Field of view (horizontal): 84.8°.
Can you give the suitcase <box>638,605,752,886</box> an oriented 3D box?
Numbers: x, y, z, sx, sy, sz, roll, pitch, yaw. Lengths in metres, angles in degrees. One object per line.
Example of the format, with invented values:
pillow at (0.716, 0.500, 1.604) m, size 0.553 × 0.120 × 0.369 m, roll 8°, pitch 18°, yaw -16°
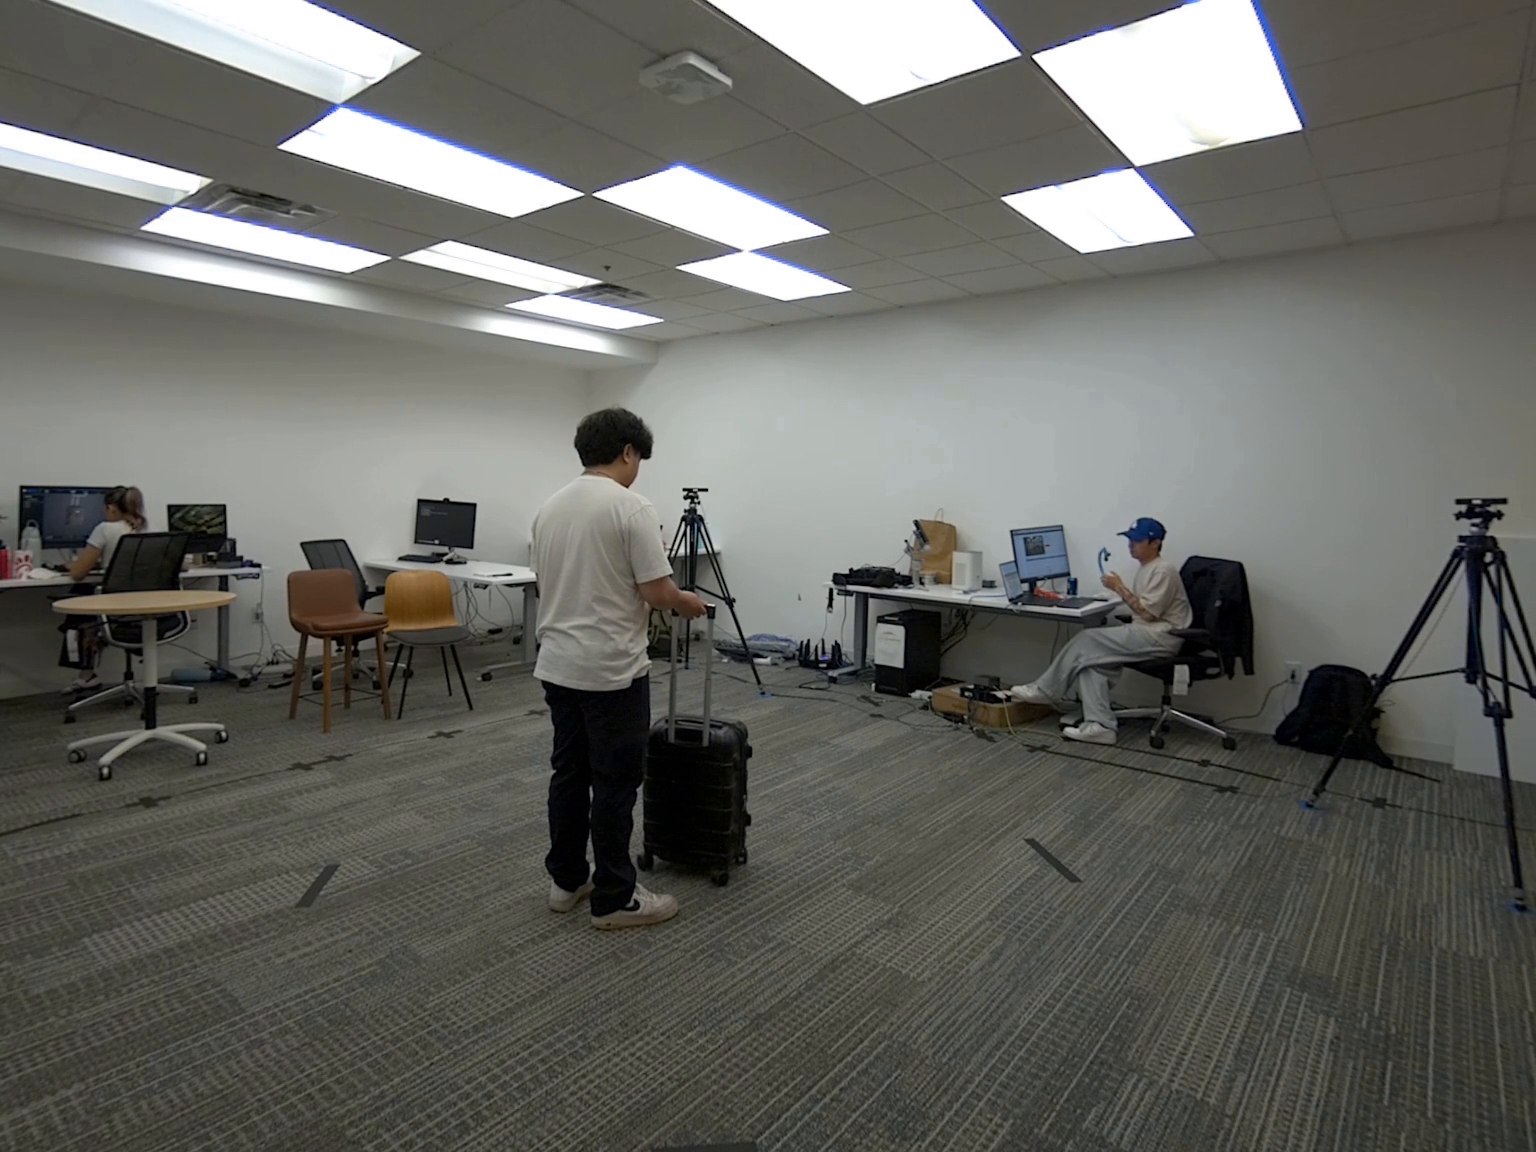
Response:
suitcase at (-0.266, 0.593, 3.131) m, size 0.392 × 0.977 × 0.252 m, roll 3°, pitch 2°, yaw 19°
